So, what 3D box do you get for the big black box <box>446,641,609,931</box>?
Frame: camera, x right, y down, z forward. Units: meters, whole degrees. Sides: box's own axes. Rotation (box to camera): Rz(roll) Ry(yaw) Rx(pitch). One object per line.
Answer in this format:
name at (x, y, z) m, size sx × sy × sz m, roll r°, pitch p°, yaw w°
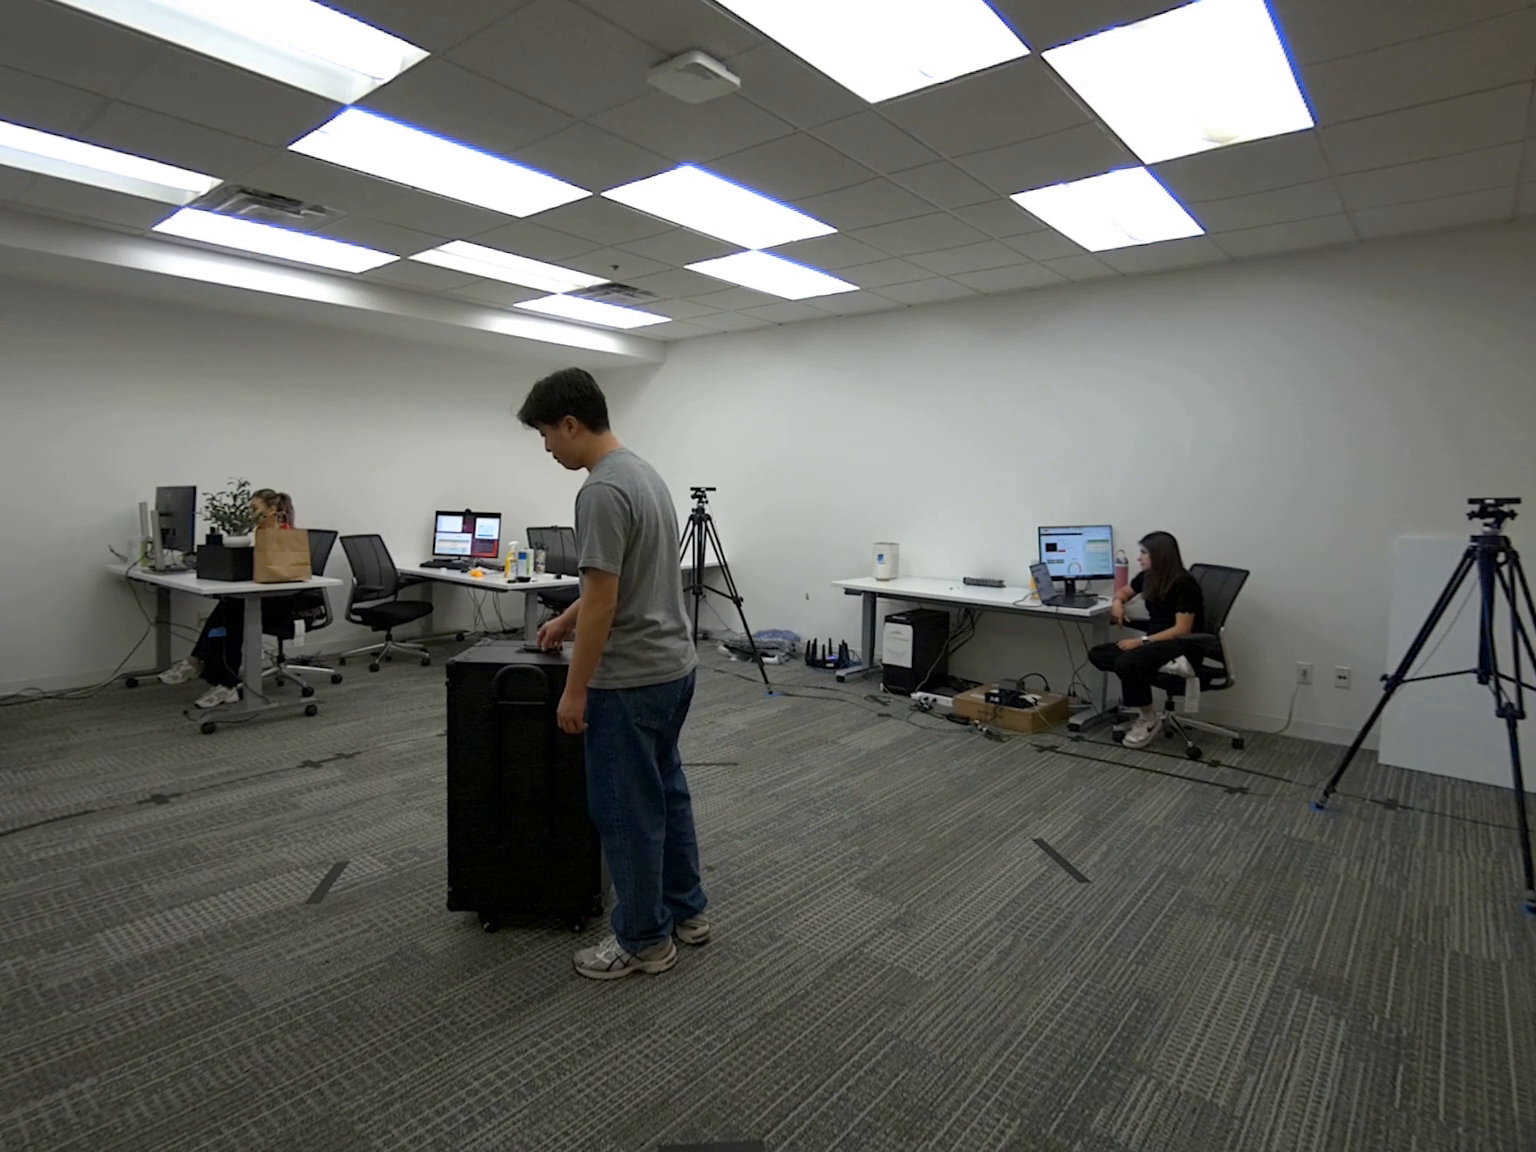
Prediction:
big black box at (-0.760, 0.671, 2.757) m, size 0.523 × 0.859 × 0.396 m, roll 1°, pitch 3°, yaw 2°
